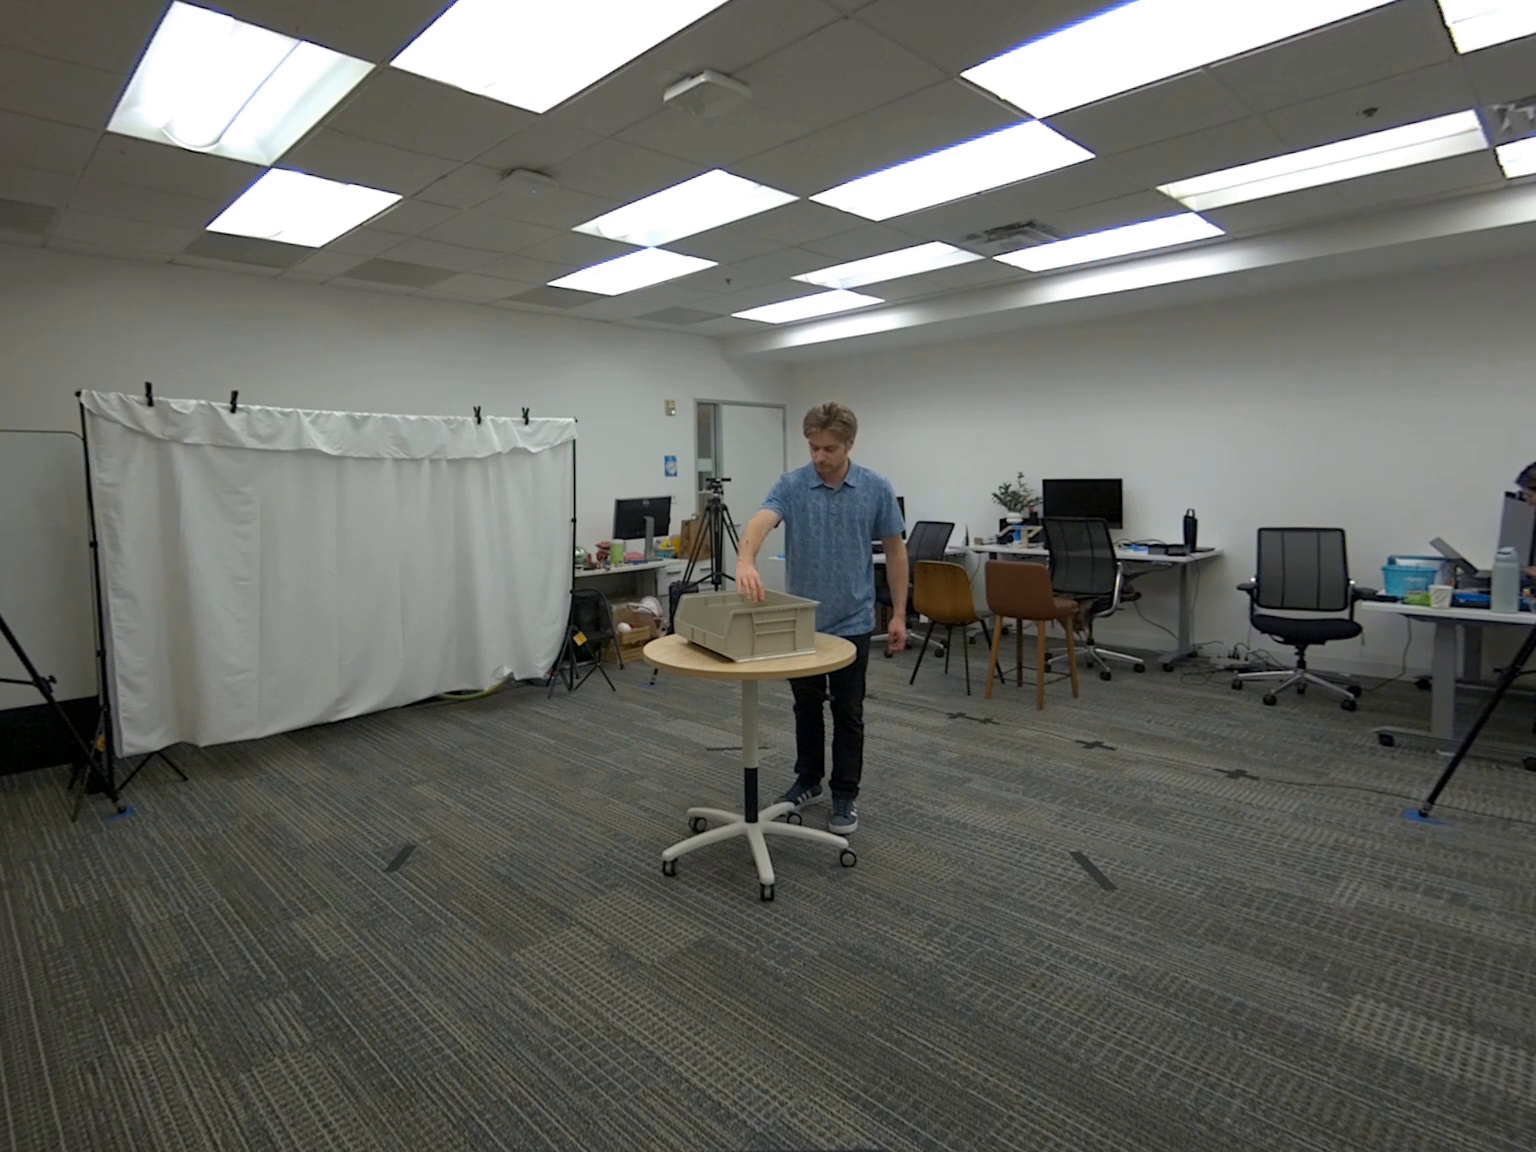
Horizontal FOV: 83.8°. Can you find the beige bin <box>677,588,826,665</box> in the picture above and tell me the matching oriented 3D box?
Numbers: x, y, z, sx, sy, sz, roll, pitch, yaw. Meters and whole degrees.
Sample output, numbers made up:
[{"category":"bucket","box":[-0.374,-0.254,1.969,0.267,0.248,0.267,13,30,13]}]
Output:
[{"category":"beige bin","box":[-0.069,0.167,3.066,0.369,0.188,0.433,-2,6,-26]}]
